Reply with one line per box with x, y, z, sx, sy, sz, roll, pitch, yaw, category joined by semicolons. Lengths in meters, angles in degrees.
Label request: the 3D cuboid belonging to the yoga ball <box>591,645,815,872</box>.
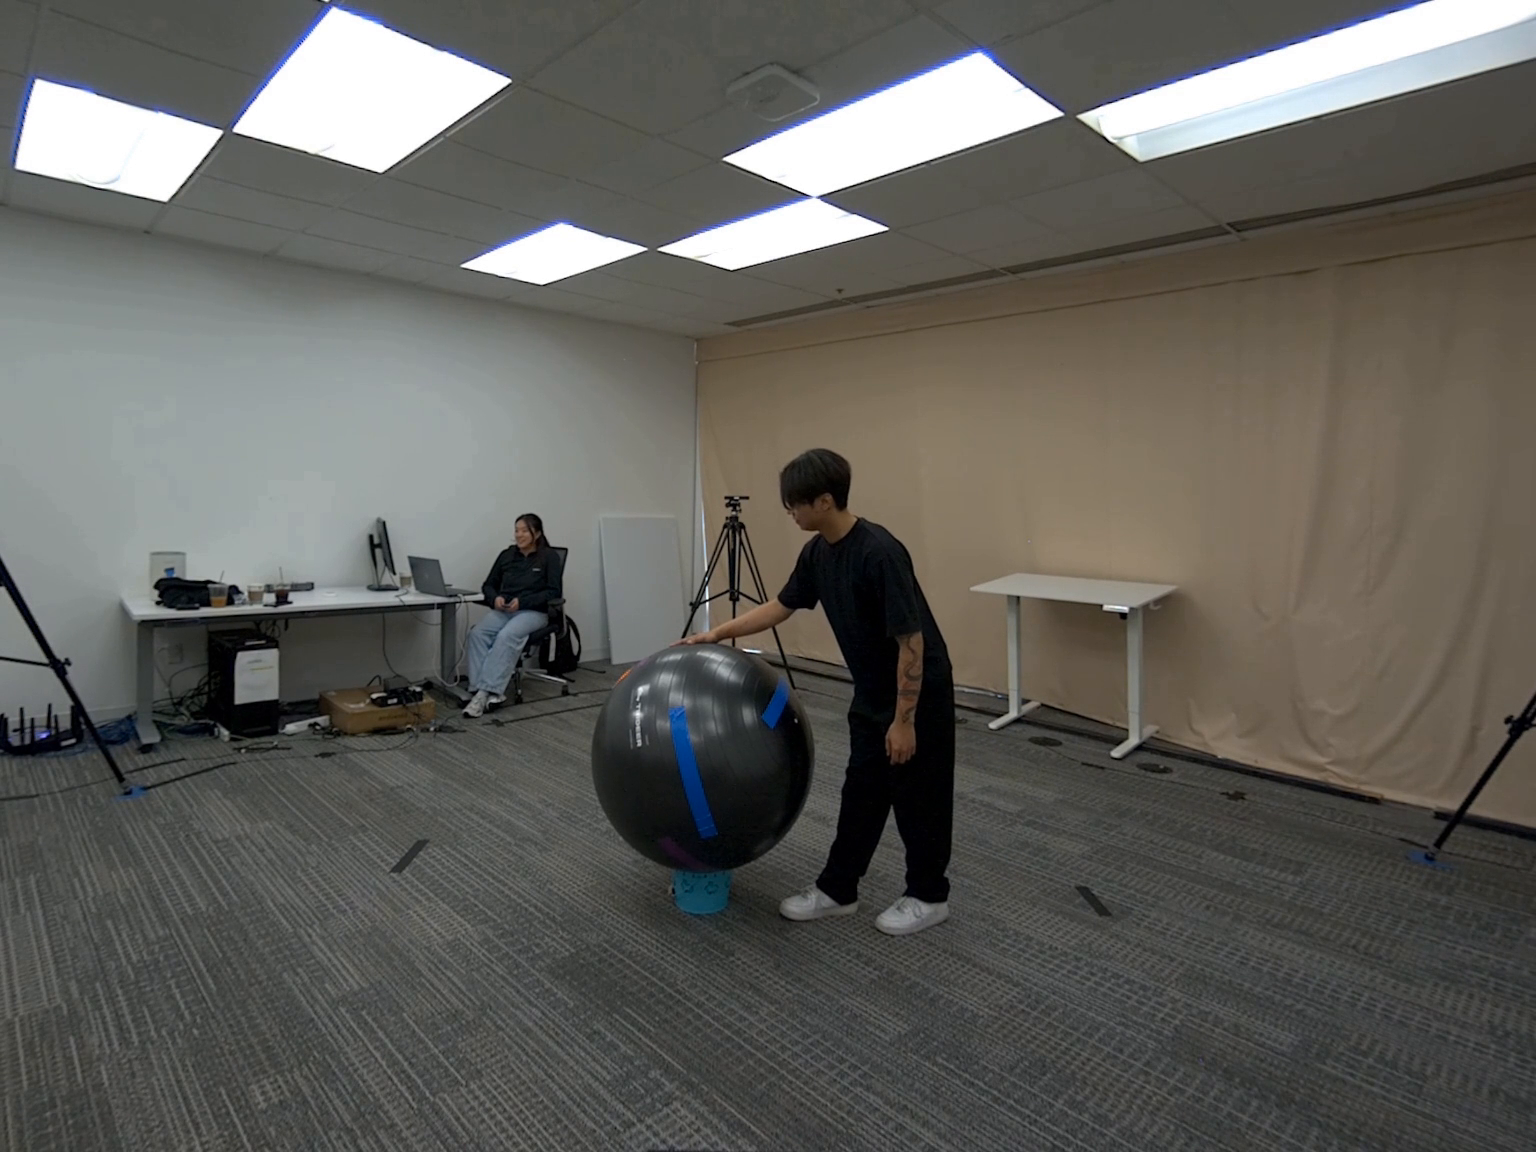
-0.234;0.614;2.880;0.757;0.756;0.761;1;4;-1;yoga ball
